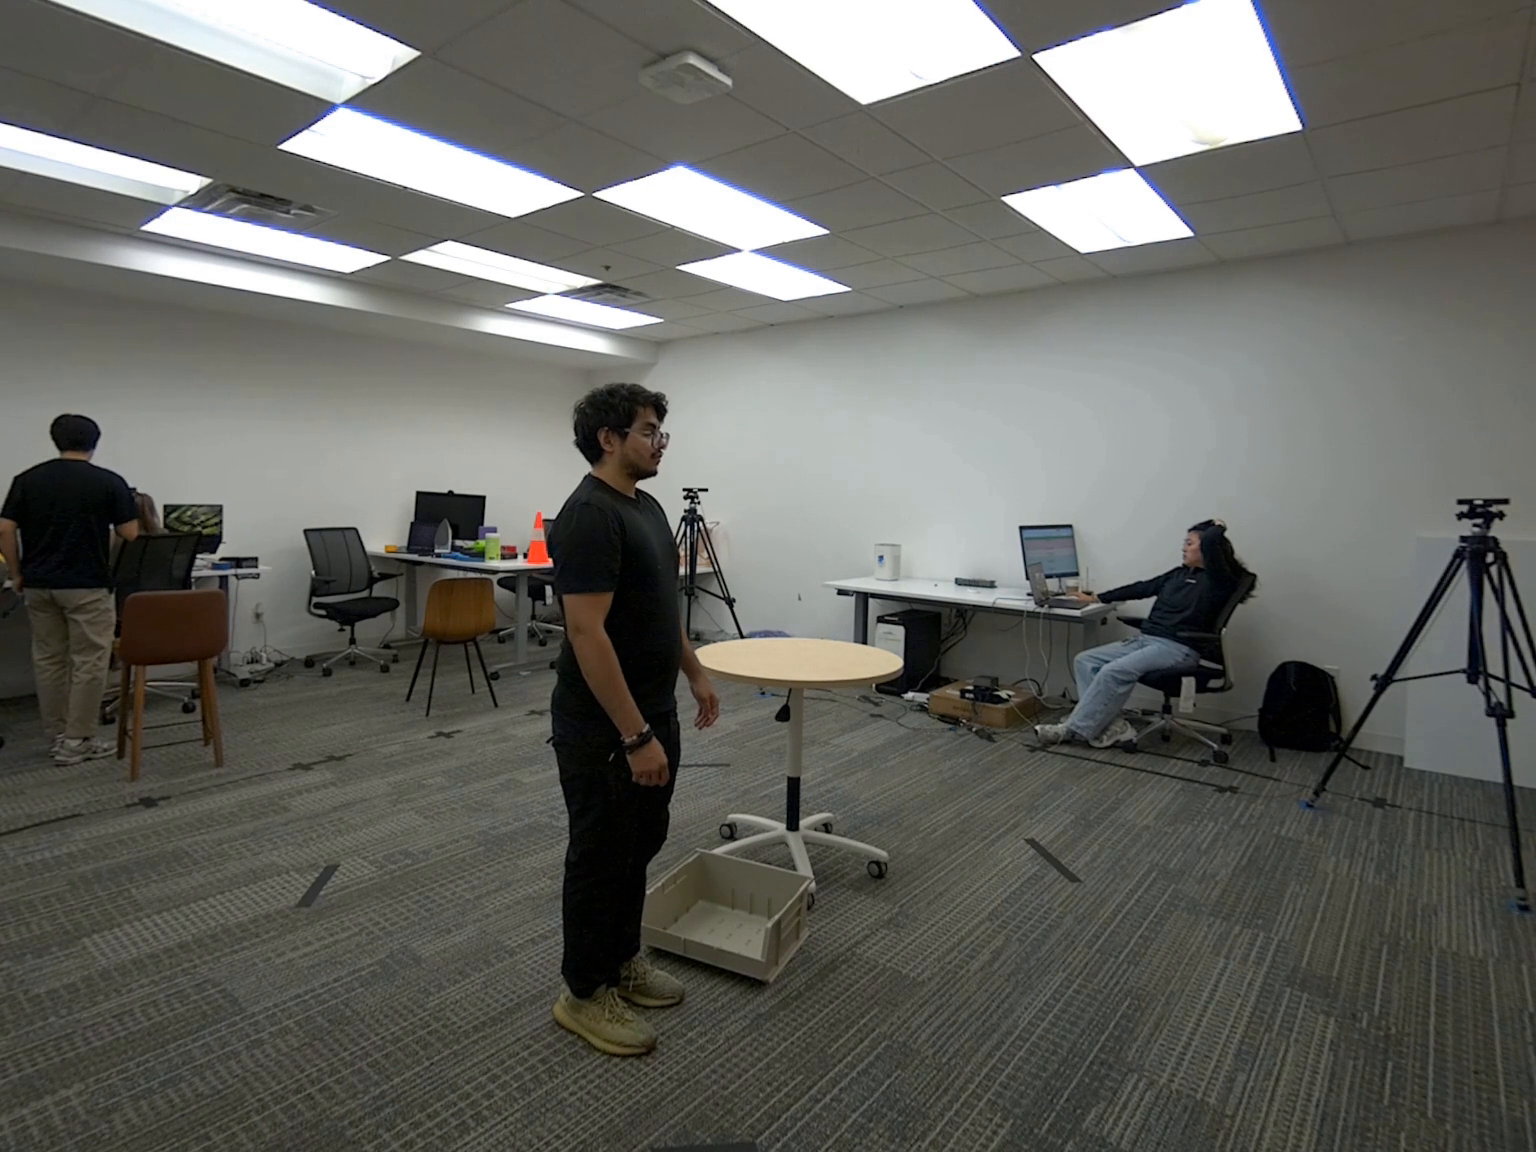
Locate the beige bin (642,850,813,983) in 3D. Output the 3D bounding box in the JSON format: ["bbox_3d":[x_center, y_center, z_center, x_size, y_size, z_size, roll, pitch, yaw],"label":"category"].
[{"bbox_3d":[-0.130,1.035,2.609,0.433,0.188,0.368,3,4,25],"label":"beige bin"}]
